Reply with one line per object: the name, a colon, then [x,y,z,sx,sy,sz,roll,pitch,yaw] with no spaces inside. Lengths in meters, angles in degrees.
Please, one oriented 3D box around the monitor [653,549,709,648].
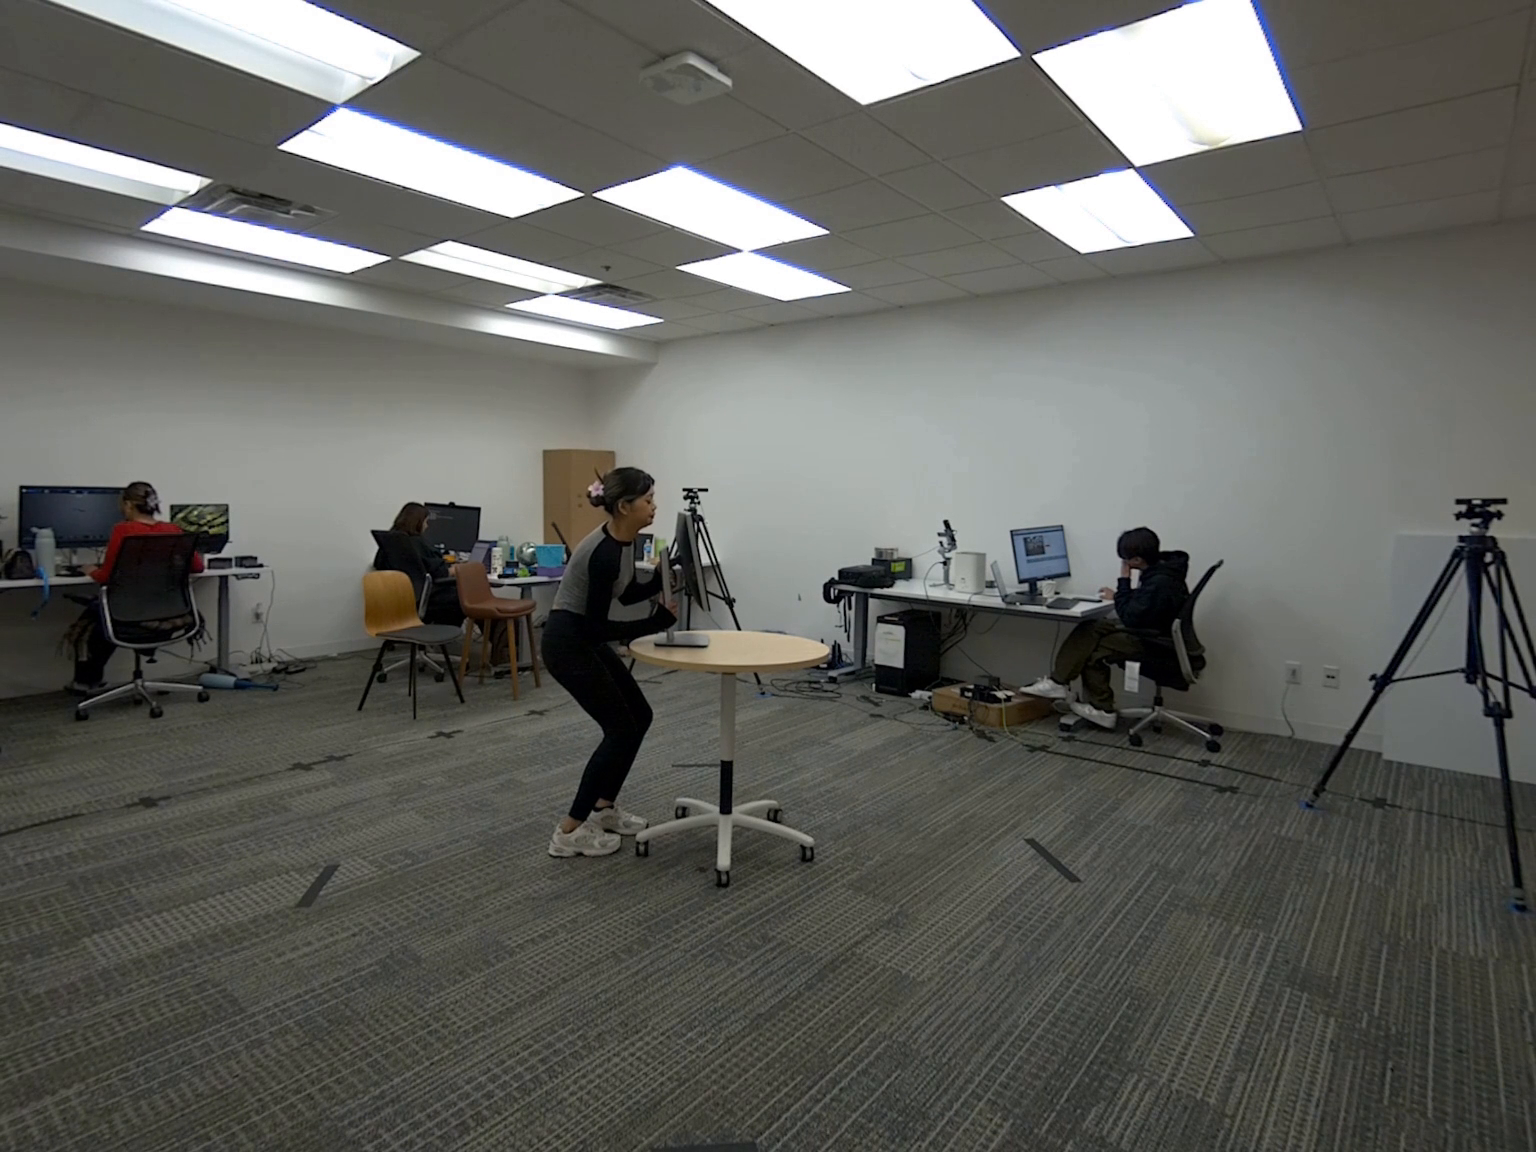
monitor: [-0.344,0.006,3.305,0.185,0.521,0.546,1,3,-10]
